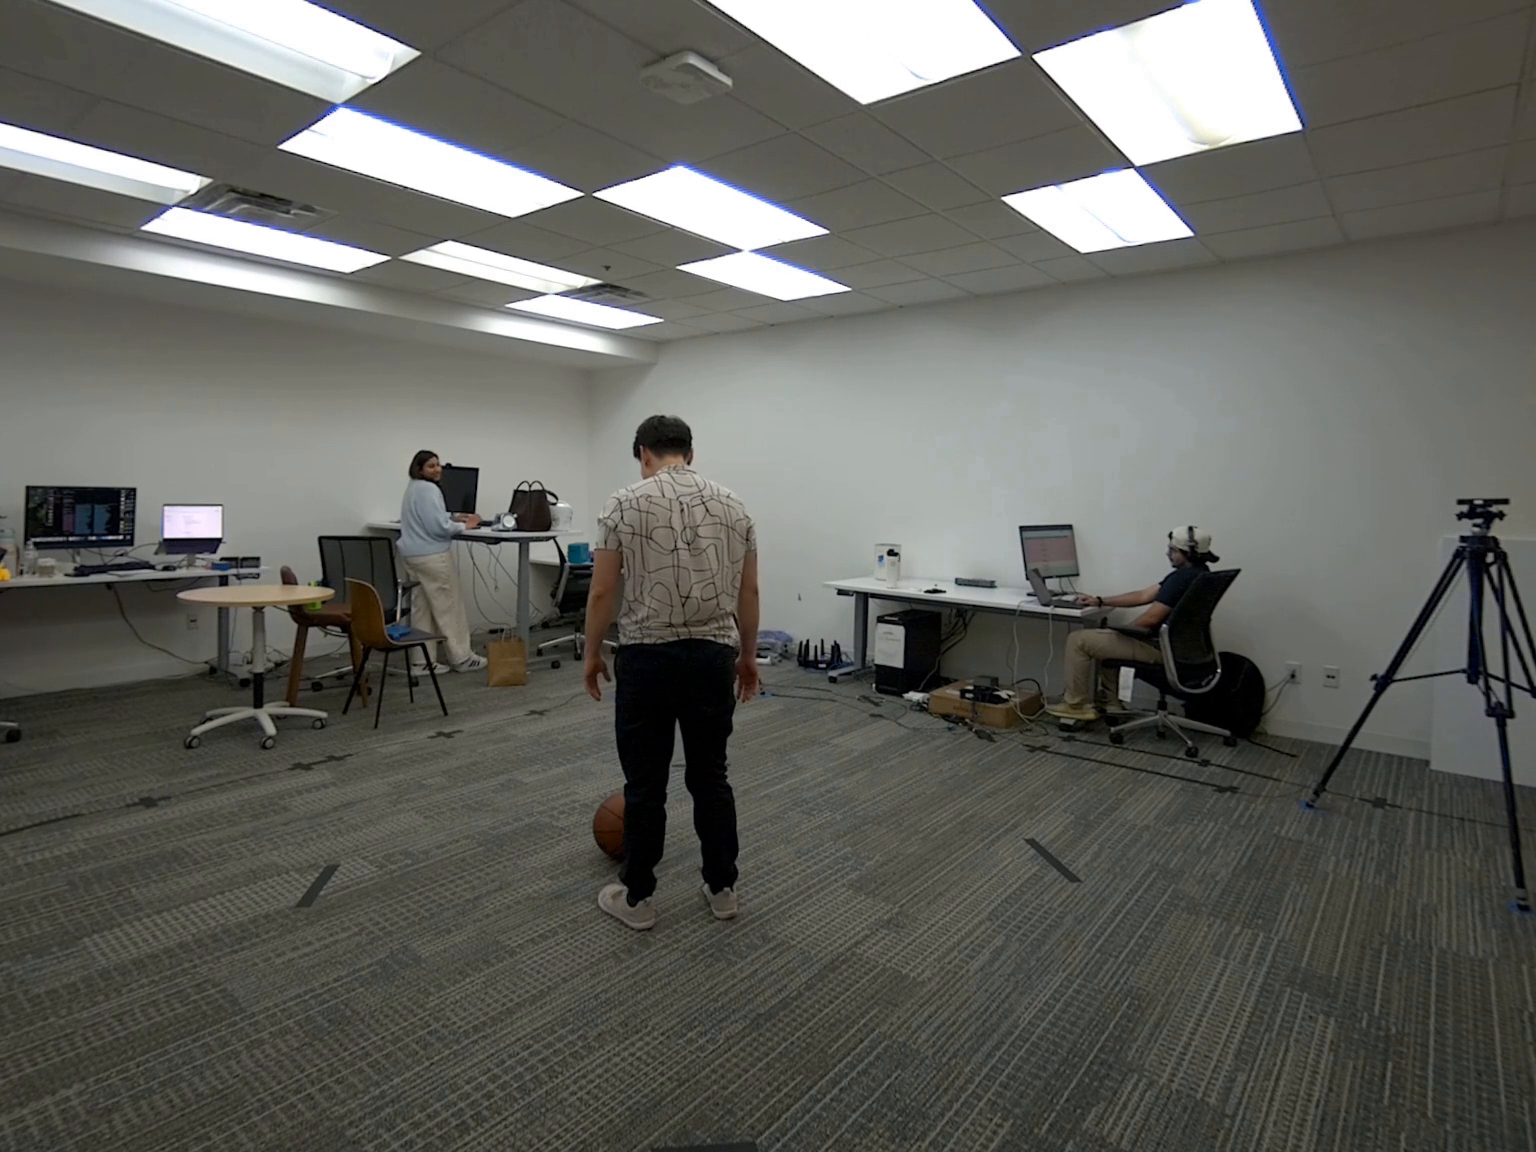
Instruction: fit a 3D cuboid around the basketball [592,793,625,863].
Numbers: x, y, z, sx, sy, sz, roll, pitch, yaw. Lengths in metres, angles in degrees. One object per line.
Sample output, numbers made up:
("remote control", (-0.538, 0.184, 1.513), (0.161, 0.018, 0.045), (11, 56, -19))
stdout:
("basketball", (-0.555, 0.932, 3.196), (0.235, 0.235, 0.237), (1, 4, -2))
